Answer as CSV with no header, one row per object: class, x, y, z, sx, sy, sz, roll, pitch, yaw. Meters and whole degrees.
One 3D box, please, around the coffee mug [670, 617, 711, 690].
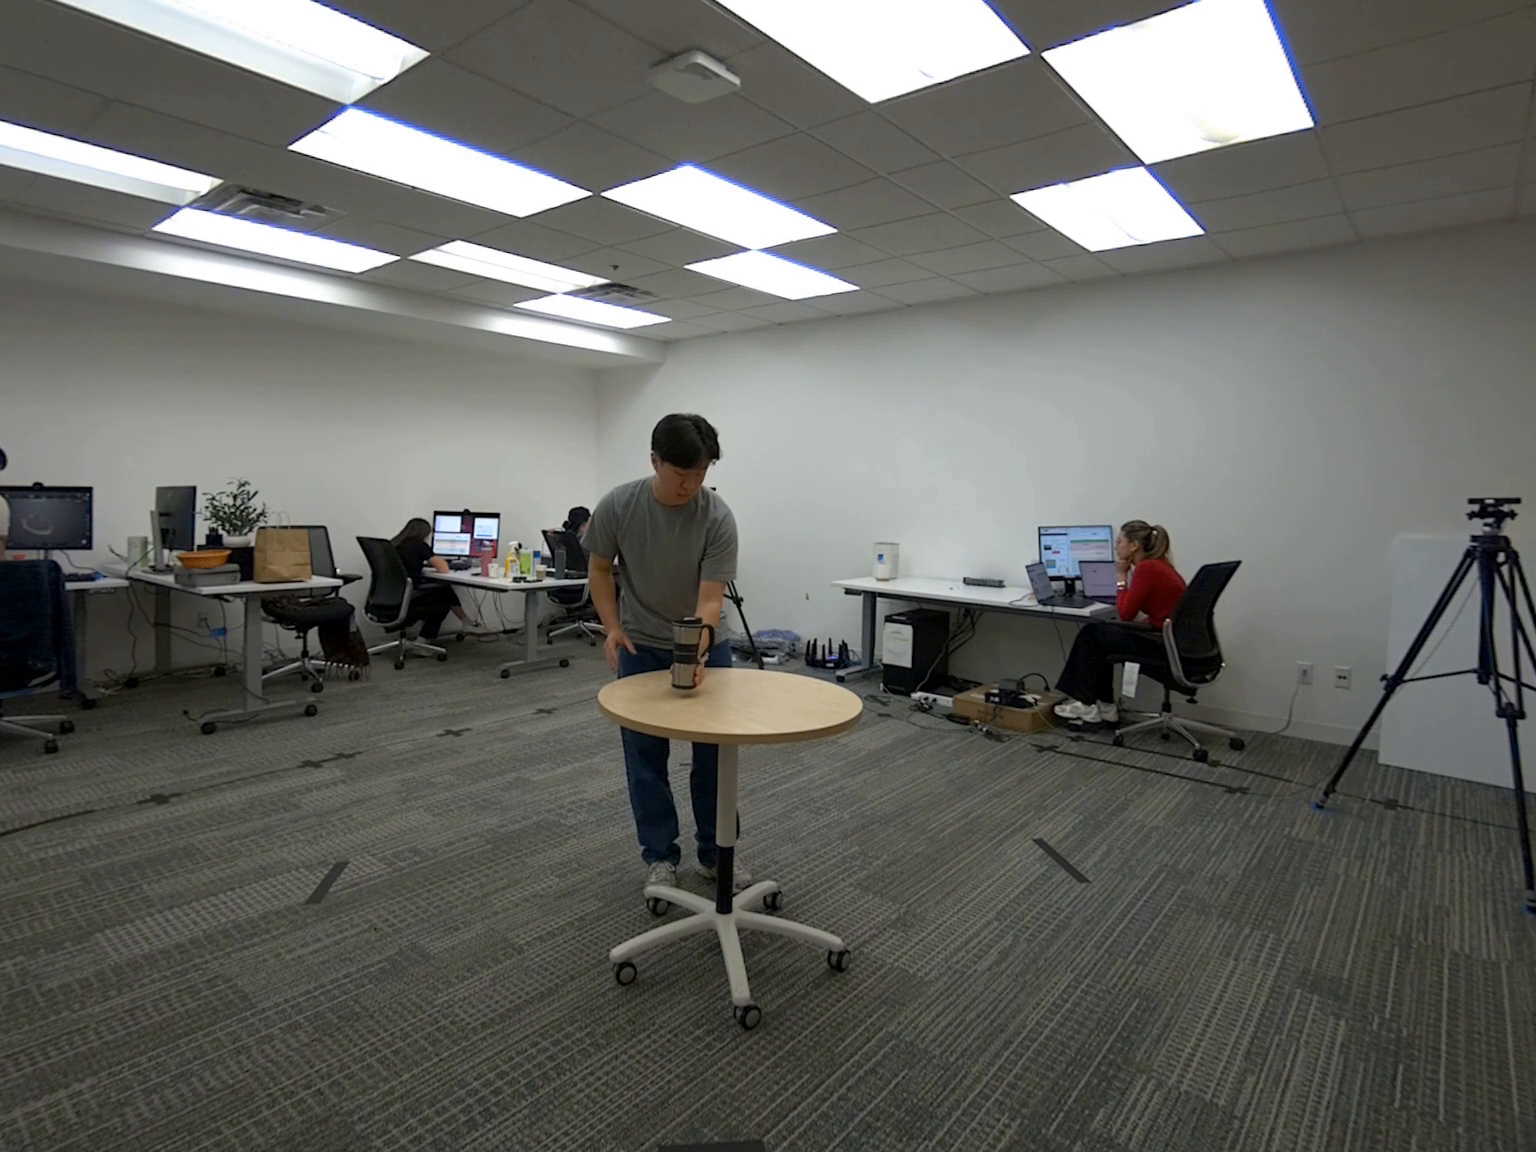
coffee mug,-0.221,0.220,2.466,0.124,0.203,0.086,1,0,13
